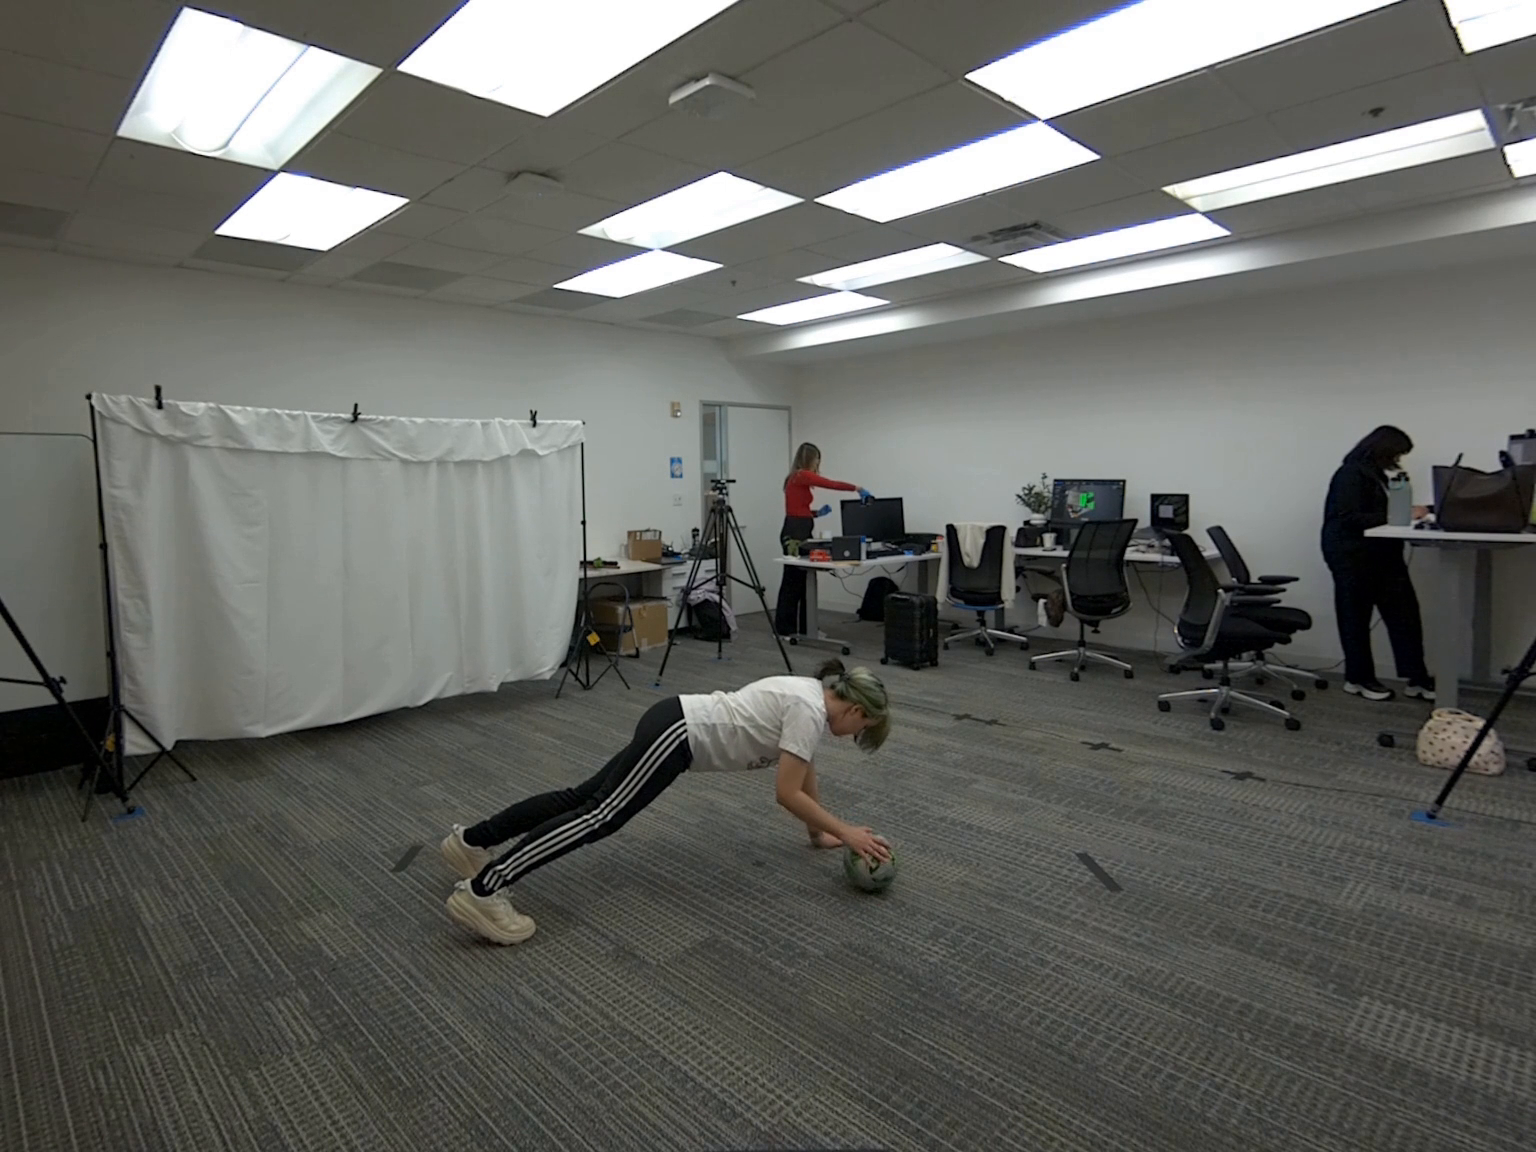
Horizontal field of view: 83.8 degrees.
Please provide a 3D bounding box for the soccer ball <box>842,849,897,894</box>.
[{"bbox_3d":[0.344,0.965,2.911,0.187,0.187,0.188,-1,5,-2],"label":"soccer ball"}]
